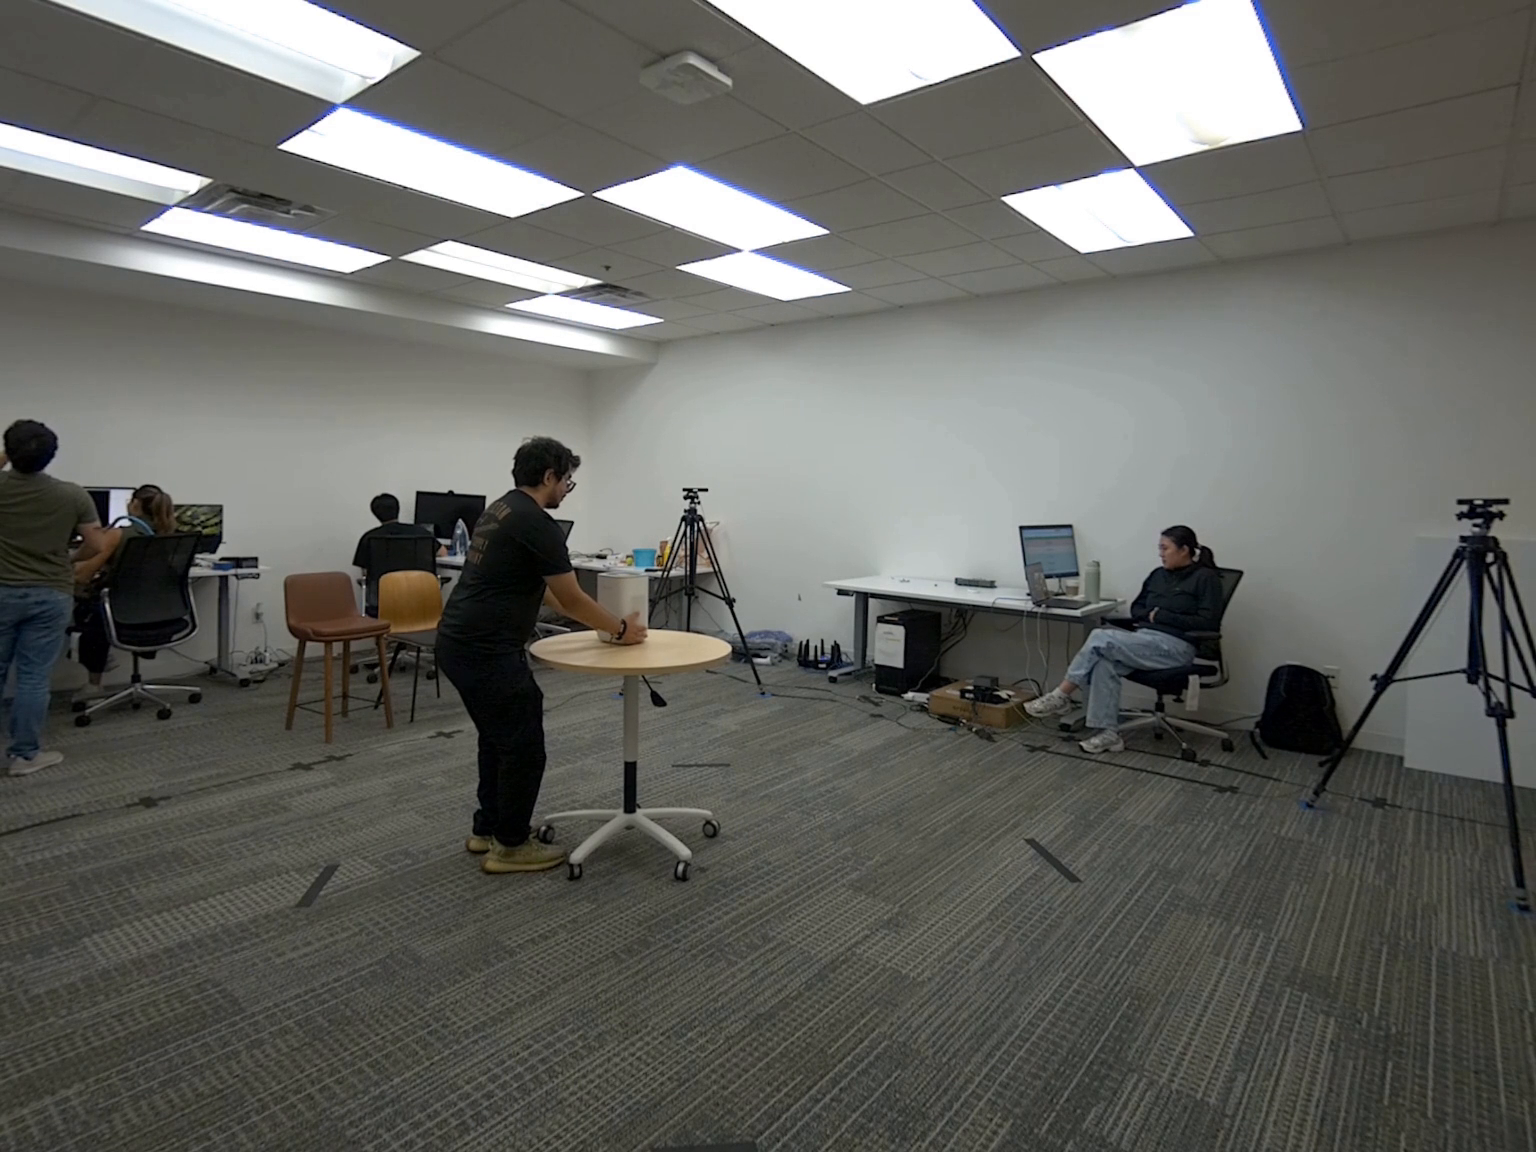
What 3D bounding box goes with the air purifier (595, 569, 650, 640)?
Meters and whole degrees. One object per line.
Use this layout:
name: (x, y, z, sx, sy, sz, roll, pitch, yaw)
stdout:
air purifier: (-0.584, 0.123, 3.350, 0.176, 0.265, 0.167, 2, 2, 31)
